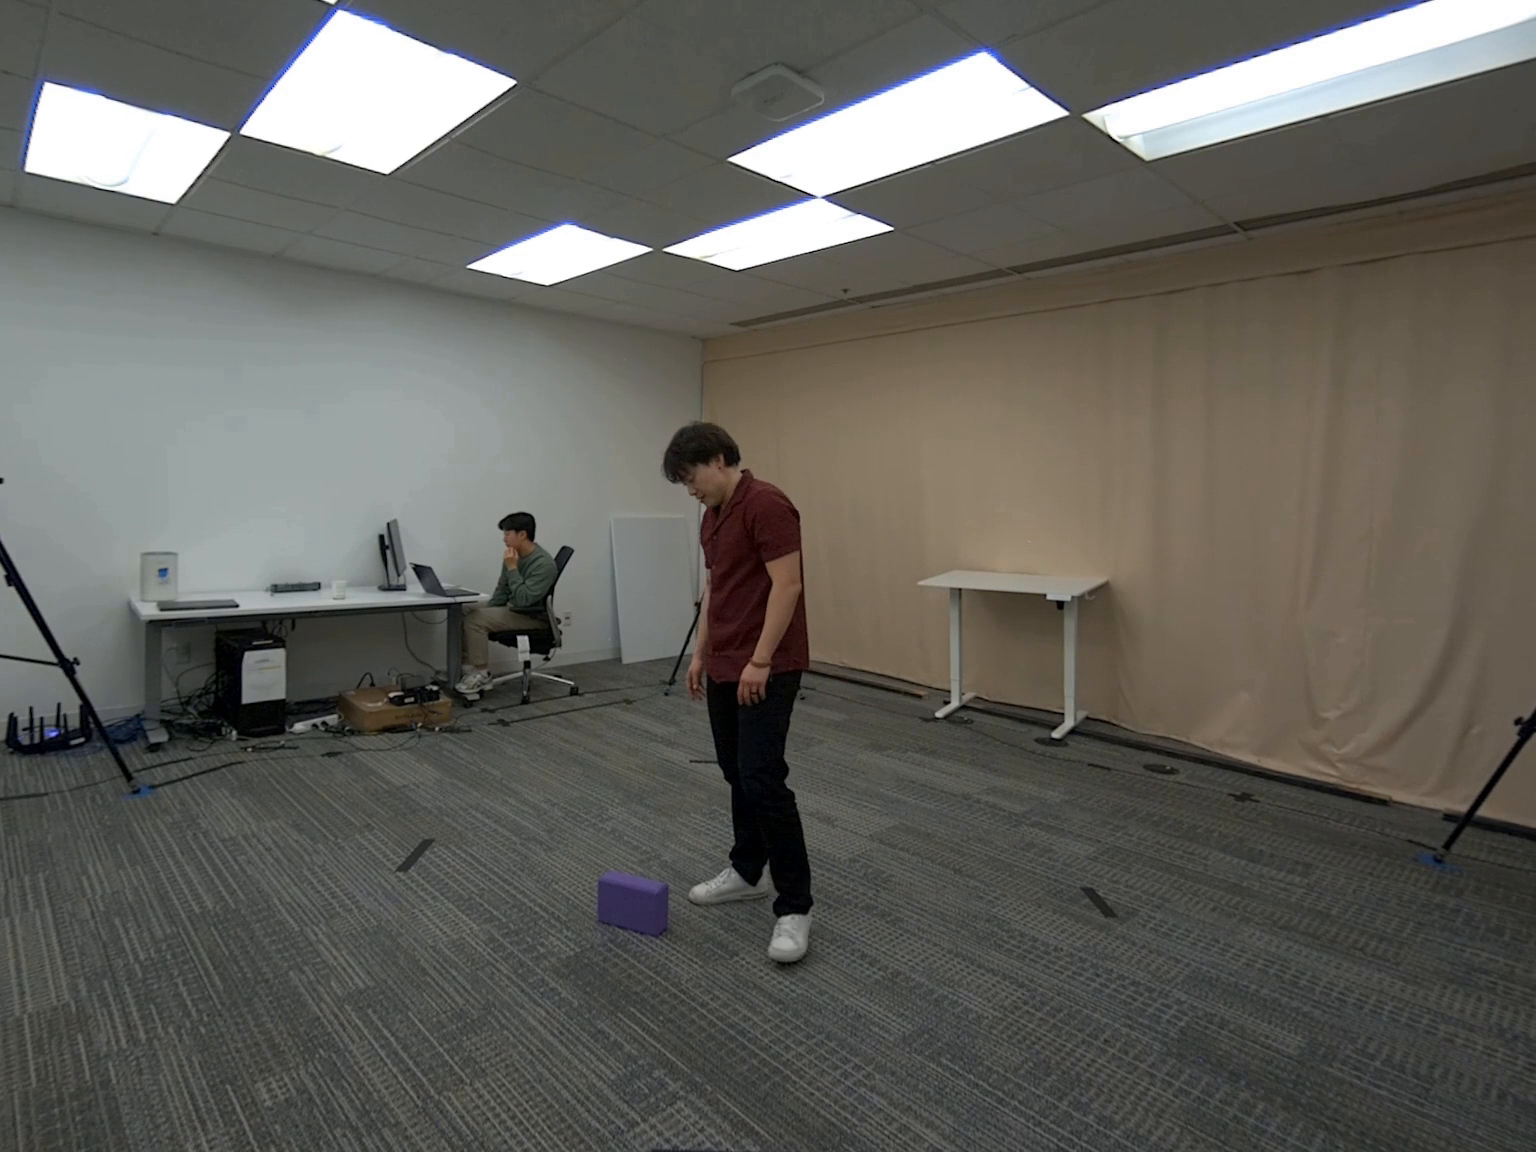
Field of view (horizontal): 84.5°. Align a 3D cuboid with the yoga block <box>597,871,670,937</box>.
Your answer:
[{"bbox_3d":[-0.446,1.055,2.721,0.233,0.148,0.075,2,5,24],"label":"yoga block"}]
